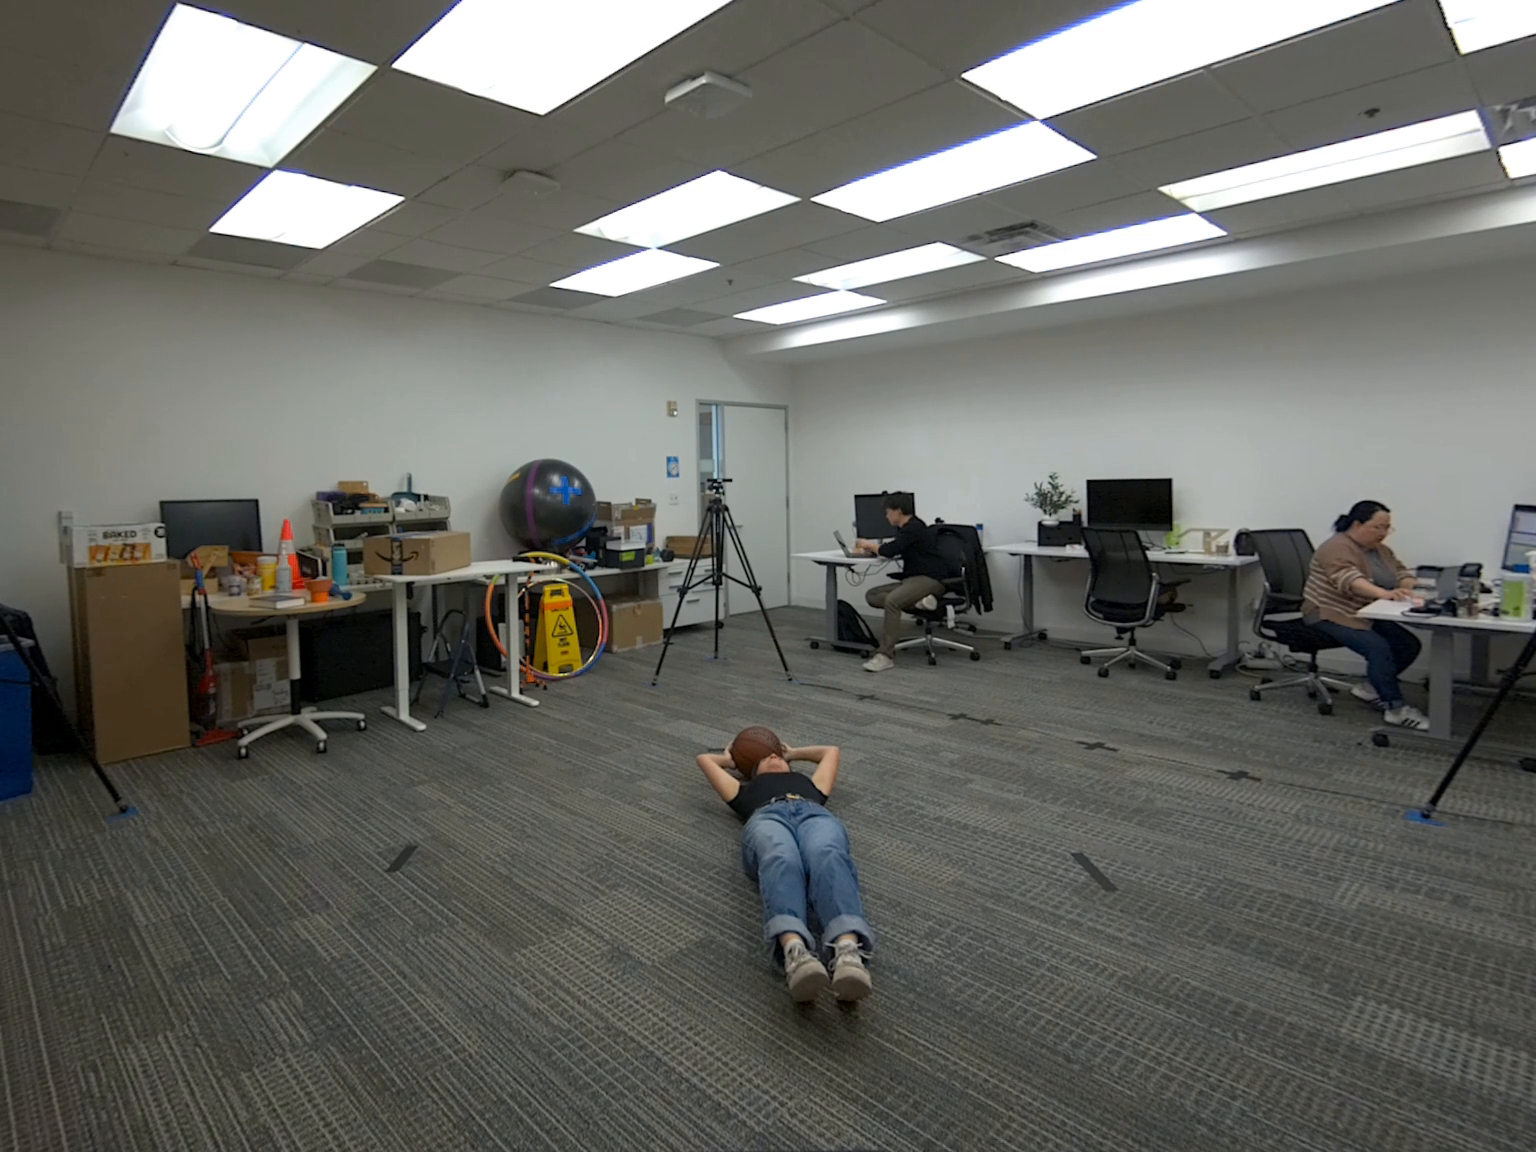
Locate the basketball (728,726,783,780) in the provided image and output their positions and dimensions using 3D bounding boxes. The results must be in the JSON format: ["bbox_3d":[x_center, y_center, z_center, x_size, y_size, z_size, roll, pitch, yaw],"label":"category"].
[{"bbox_3d":[-0.049,0.820,4.004,0.236,0.235,0.237,-1,5,-2],"label":"basketball"}]
